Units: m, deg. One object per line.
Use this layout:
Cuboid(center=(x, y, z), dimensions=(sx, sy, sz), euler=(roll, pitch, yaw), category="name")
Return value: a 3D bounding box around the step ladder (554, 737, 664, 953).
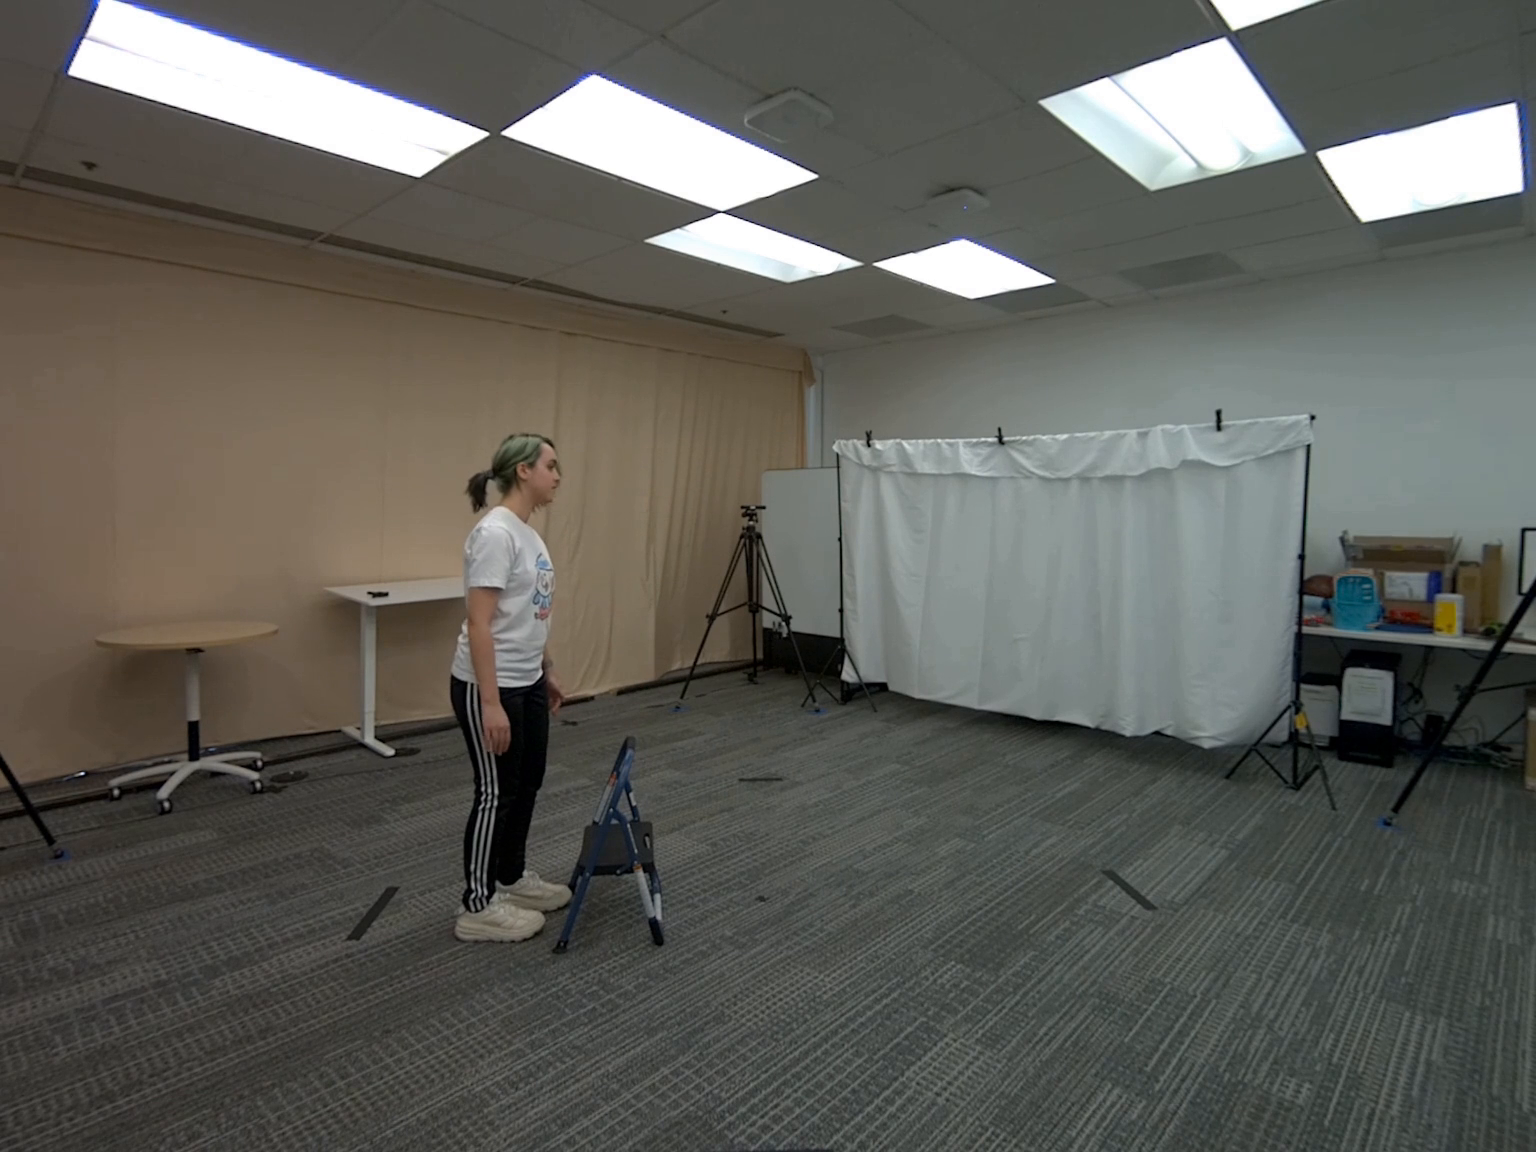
Cuboid(center=(-0.531, 0.863, 2.834), dimensions=(0.346, 0.605, 0.435), euler=(-1, 4, -9), category="step ladder")
